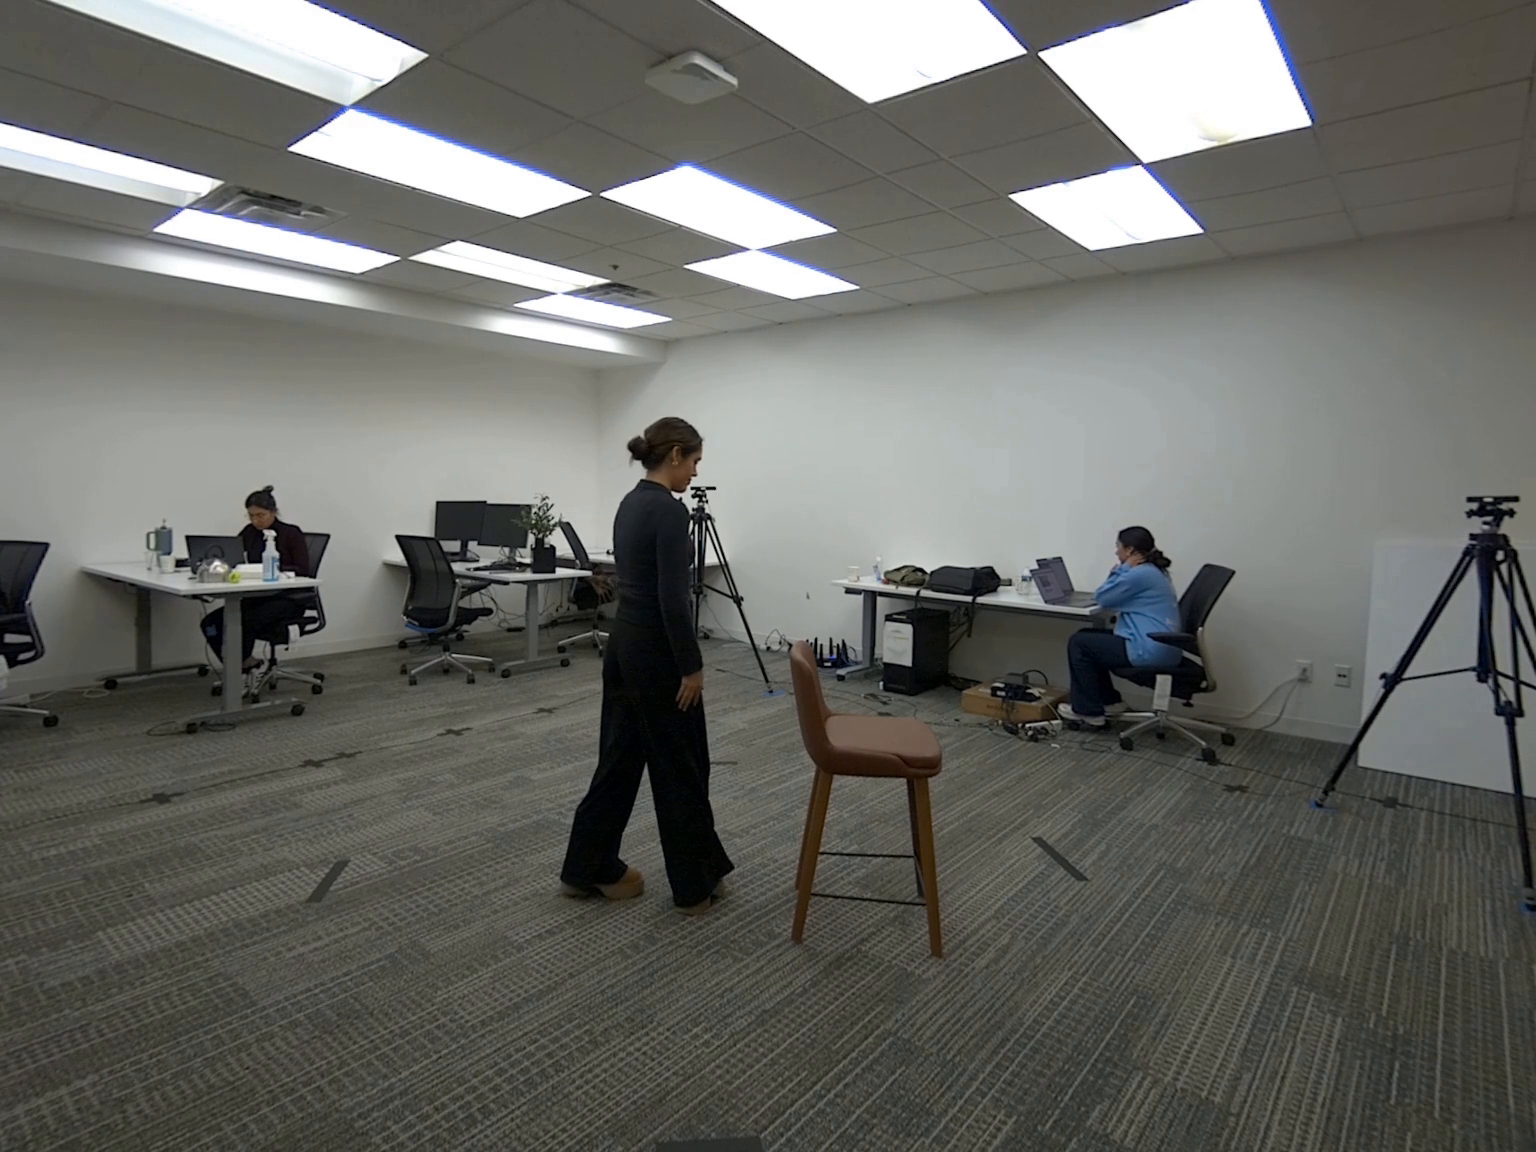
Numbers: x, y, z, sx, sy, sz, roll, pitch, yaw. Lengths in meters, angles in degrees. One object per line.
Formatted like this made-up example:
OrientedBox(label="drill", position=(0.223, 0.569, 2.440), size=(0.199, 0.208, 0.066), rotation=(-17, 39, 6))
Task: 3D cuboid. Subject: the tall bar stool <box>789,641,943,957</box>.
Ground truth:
OrientedBox(label="tall bar stool", position=(0.307, 0.677, 2.743), size=(0.471, 0.887, 0.454), rotation=(0, 3, 6))
